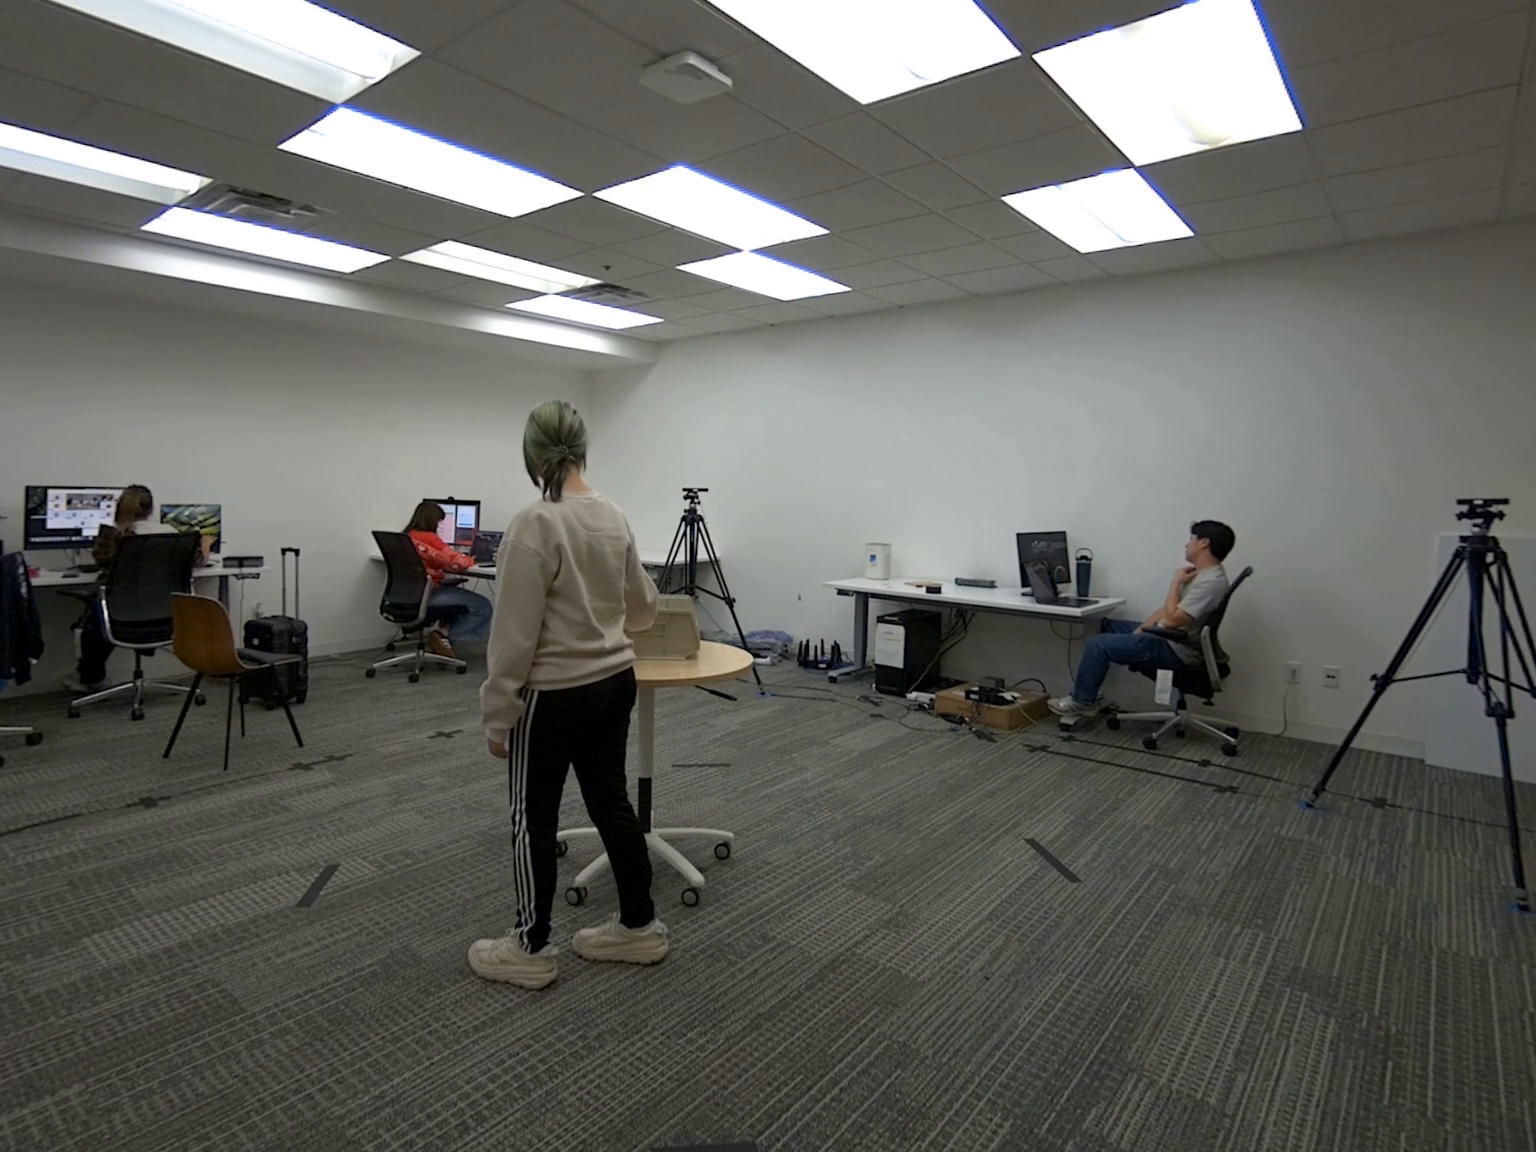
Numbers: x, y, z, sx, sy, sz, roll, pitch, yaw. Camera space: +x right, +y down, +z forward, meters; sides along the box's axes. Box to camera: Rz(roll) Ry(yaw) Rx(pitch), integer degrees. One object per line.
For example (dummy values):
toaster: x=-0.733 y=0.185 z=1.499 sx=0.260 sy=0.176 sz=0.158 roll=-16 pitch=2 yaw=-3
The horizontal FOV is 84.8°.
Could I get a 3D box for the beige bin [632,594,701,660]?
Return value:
beige bin: x=-0.451 y=0.179 z=3.188 sx=0.376 sy=0.188 sz=0.426 roll=0 pitch=6 yaw=-4
